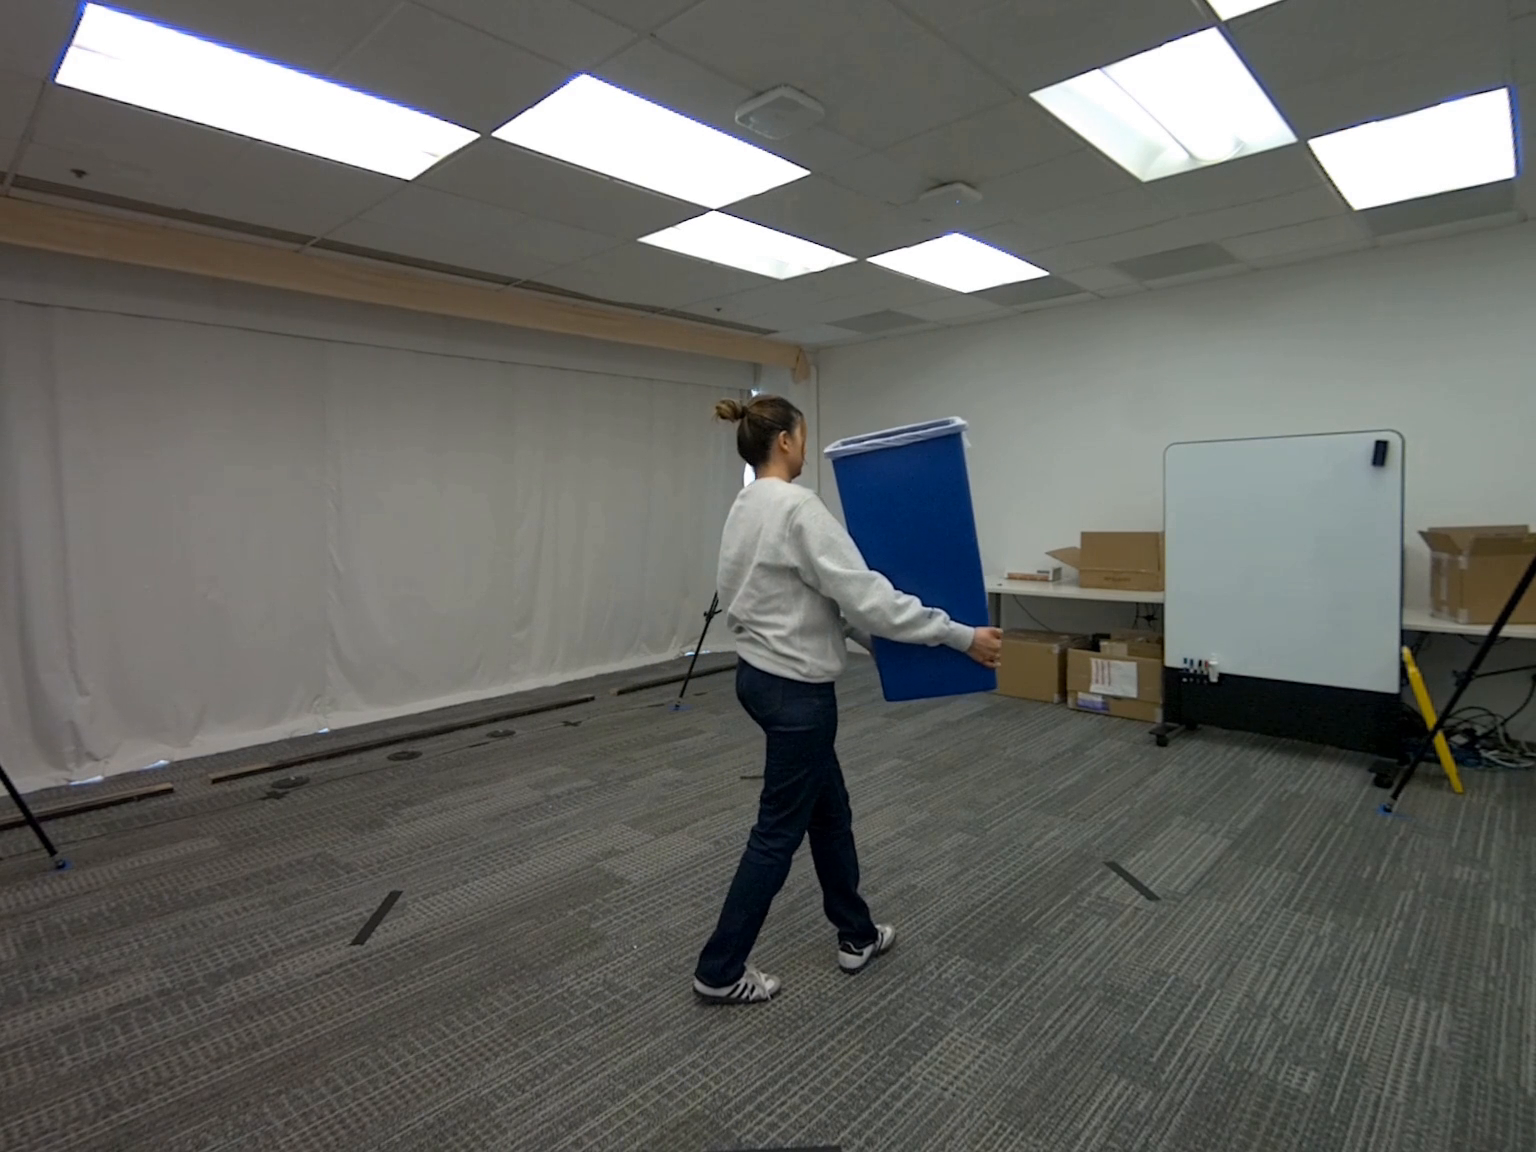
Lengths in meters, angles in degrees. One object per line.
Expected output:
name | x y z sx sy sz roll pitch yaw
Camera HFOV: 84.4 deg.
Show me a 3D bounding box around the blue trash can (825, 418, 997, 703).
blue trash can | 0.424 -0.054 2.344 0.379 0.709 0.376 -9 8 12
